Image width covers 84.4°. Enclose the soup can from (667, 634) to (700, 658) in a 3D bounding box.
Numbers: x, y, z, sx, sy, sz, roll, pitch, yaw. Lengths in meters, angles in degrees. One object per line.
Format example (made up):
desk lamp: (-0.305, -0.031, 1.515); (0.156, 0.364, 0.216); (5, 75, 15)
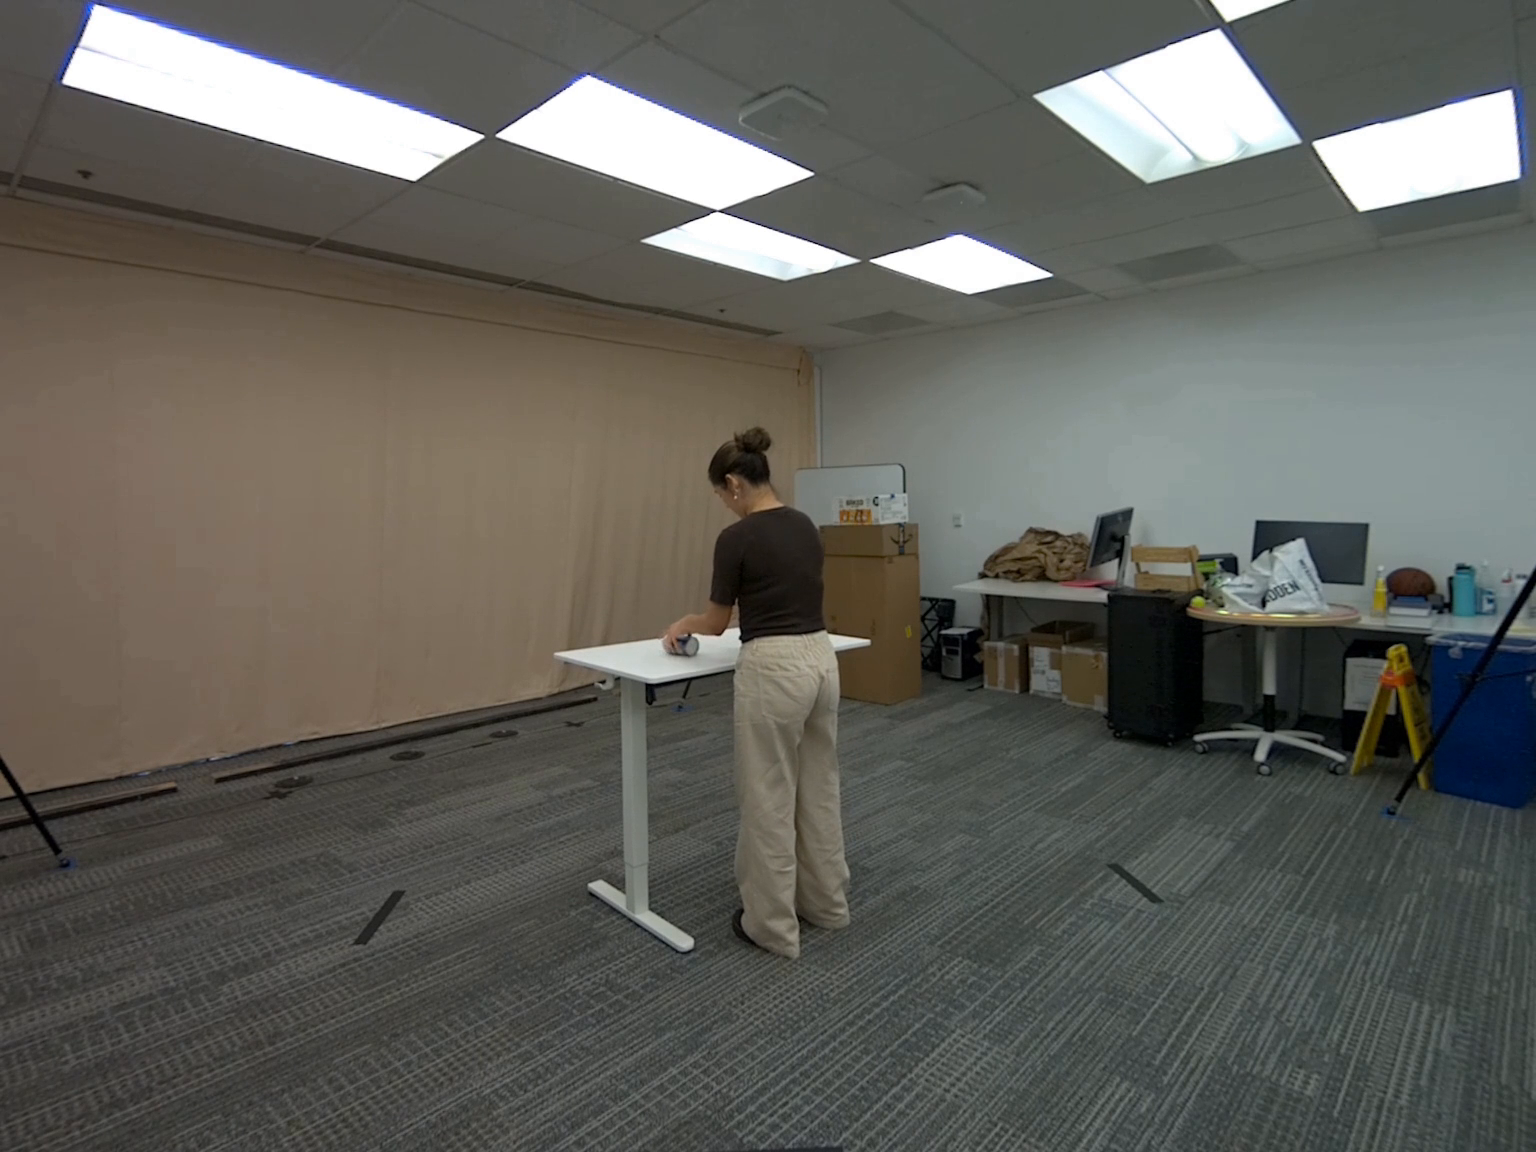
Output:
soup can: (-0.296, 0.230, 2.888); (0.125, 0.067, 0.065); (4, 6, 40)
